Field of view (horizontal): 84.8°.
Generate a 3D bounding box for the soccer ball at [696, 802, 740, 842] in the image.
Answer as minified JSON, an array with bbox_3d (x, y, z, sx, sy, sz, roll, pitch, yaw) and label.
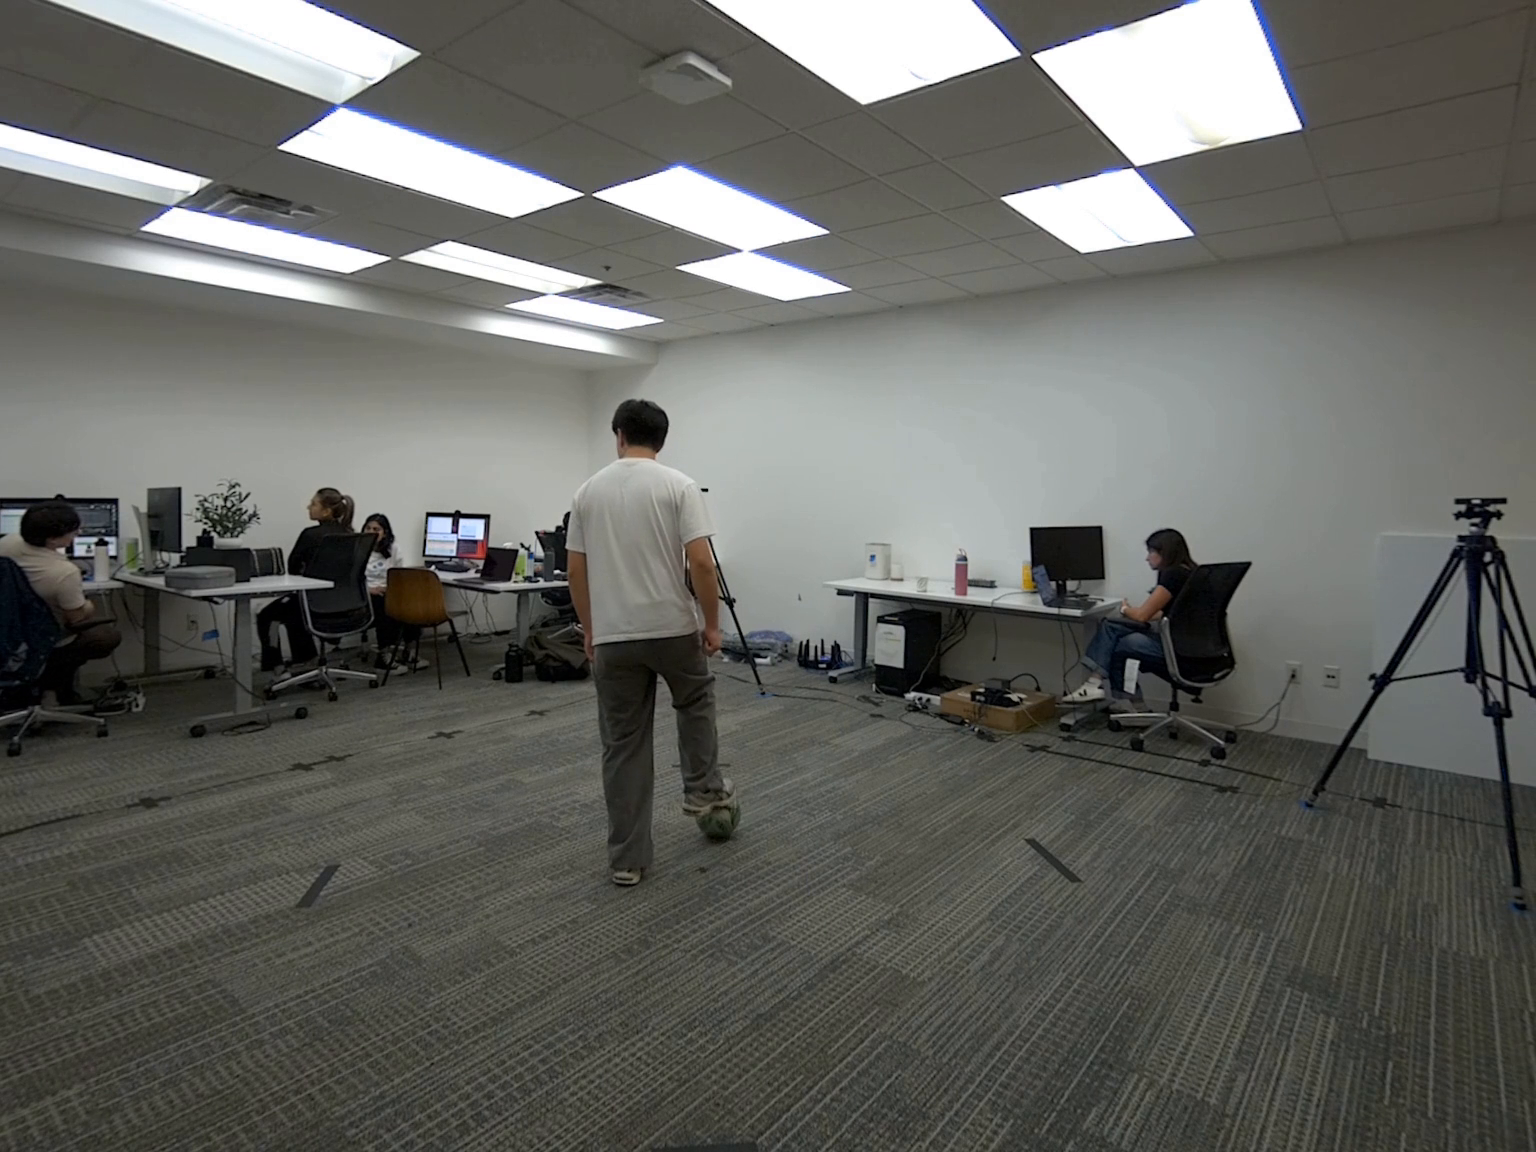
[{"bbox_3d":[-0.197,0.942,3.397,0.187,0.187,0.188,1,4,-2],"label":"soccer ball"}]
